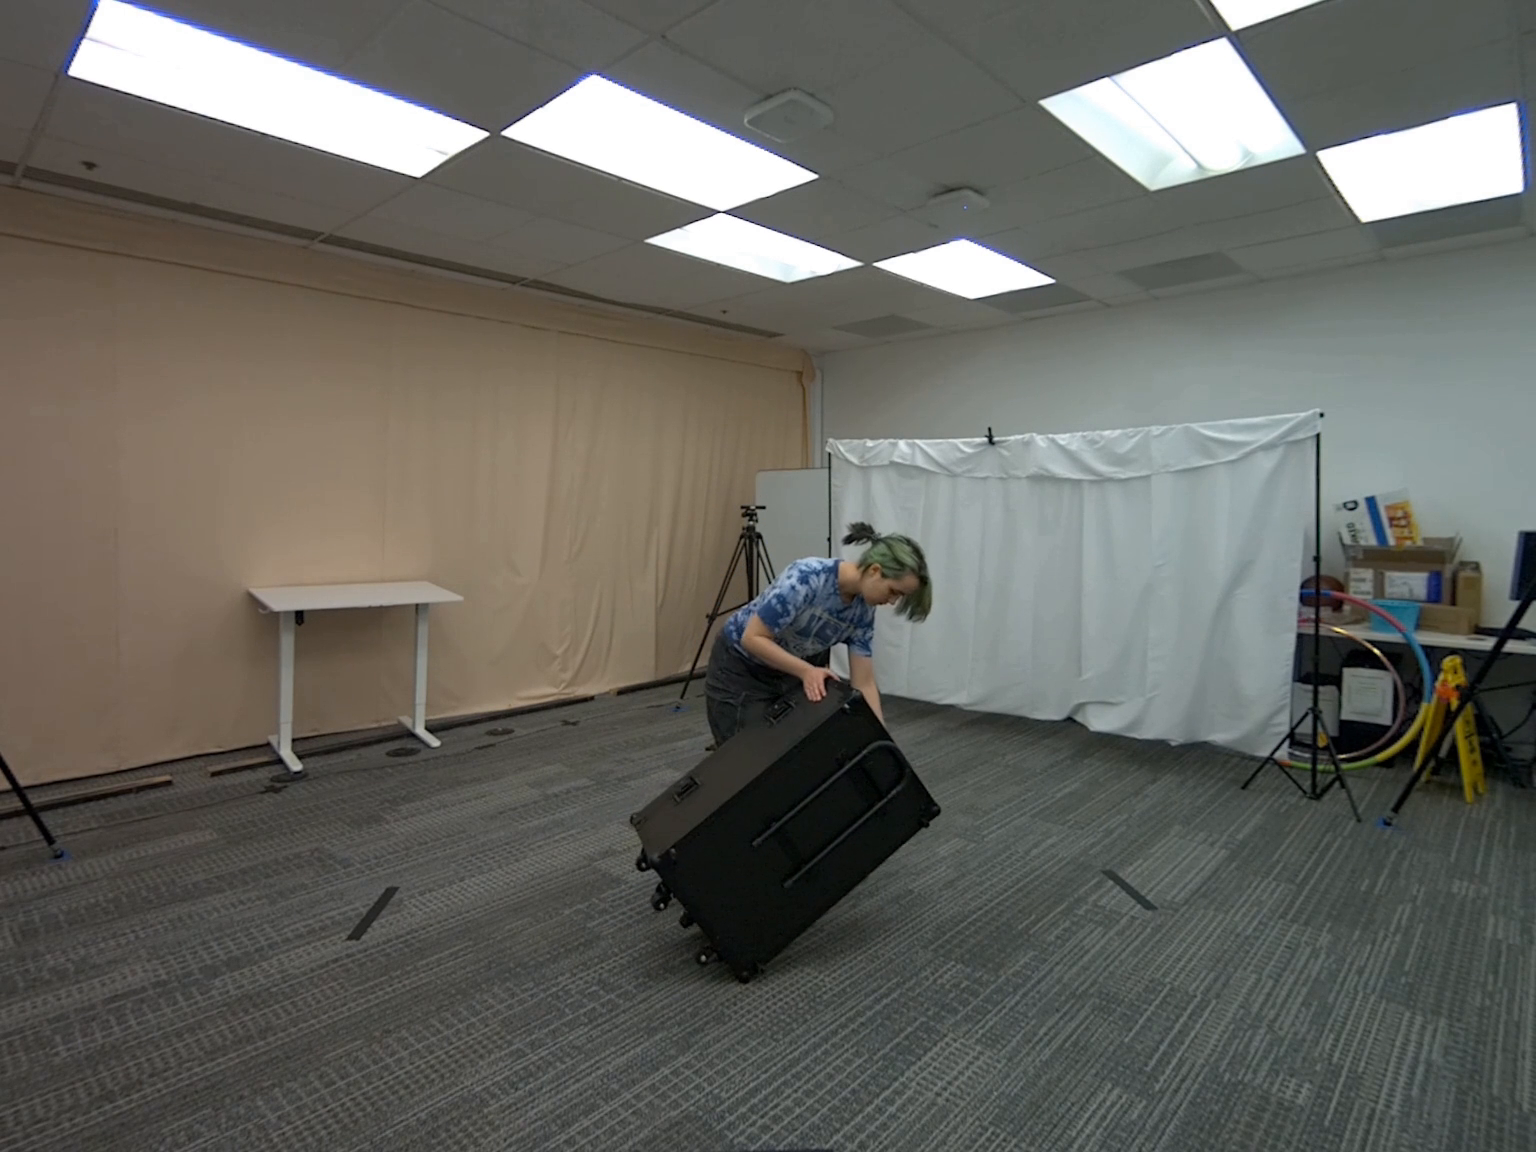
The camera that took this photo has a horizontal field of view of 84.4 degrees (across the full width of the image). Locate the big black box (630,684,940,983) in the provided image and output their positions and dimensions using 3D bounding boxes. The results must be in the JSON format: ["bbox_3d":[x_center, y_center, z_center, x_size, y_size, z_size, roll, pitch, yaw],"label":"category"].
[{"bbox_3d":[0.030,0.775,2.624,0.857,0.514,0.403,-37,12,-9],"label":"big black box"}]
